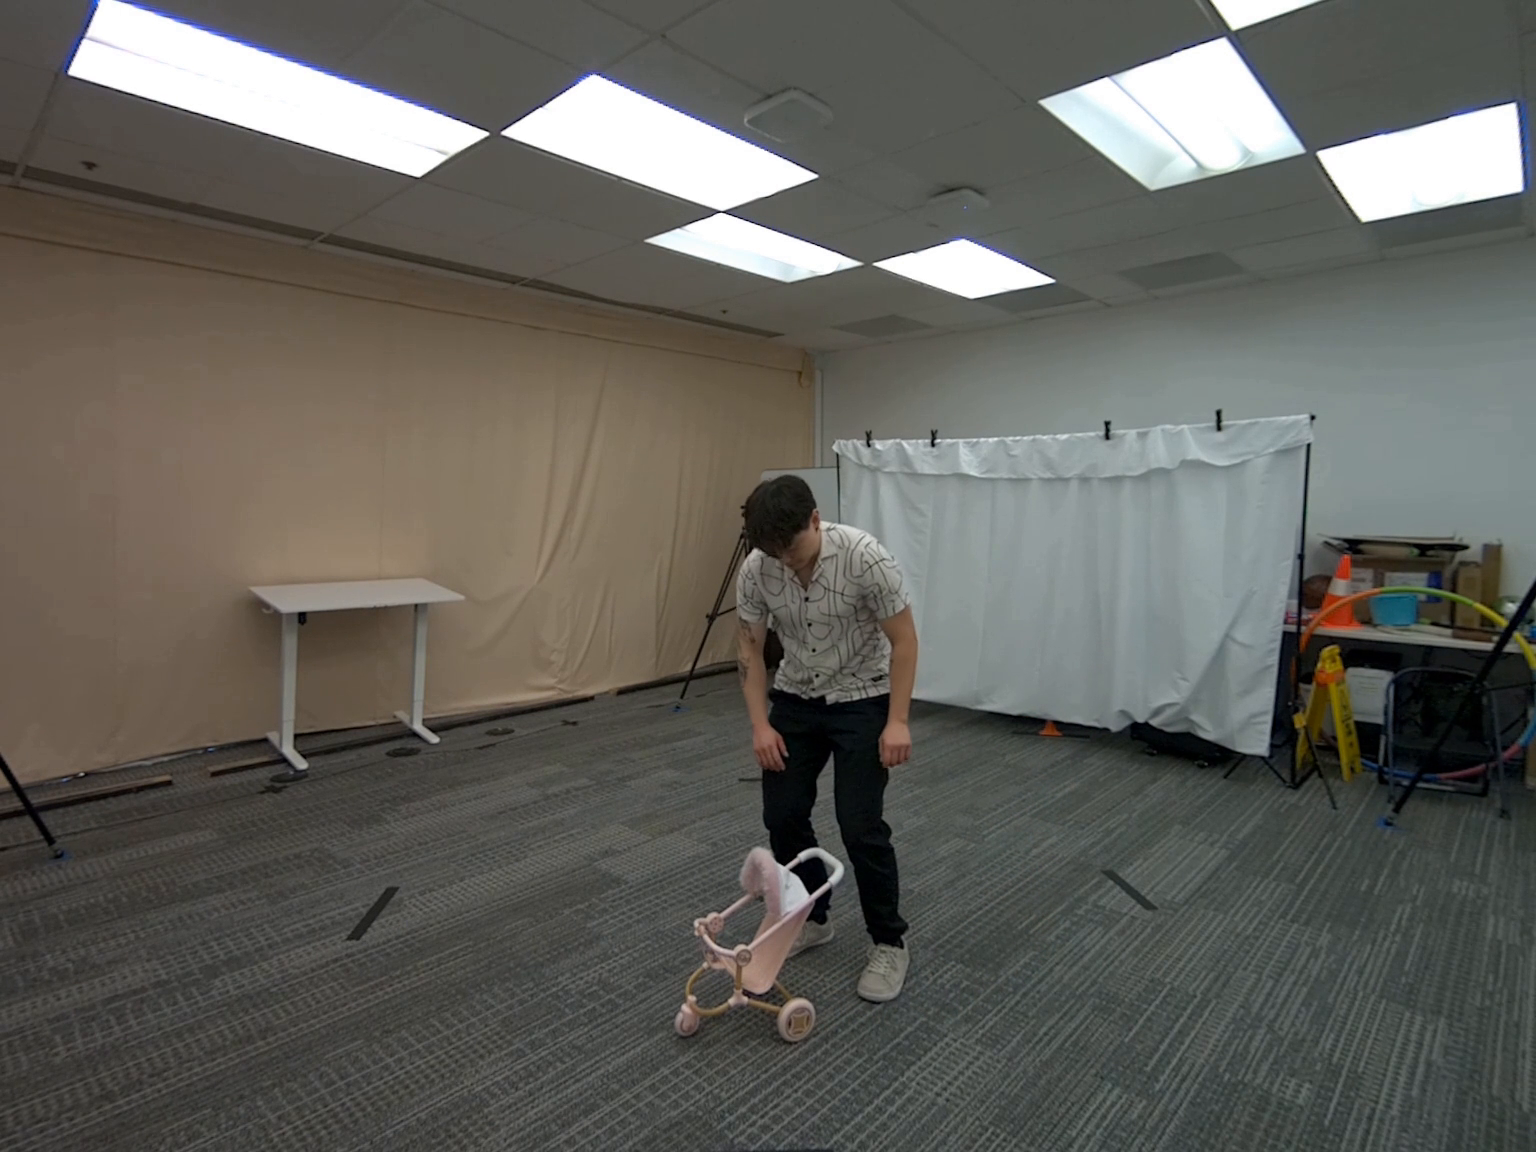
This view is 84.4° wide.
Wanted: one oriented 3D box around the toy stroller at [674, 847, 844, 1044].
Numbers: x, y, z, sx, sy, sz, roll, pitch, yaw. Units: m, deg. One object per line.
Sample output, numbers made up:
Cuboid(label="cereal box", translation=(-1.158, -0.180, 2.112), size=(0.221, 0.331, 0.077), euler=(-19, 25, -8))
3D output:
Cuboid(label="toy stroller", translation=(-0.032, 0.980, 2.278), size=(0.334, 0.535, 0.287), euler=(18, -3, -19))
